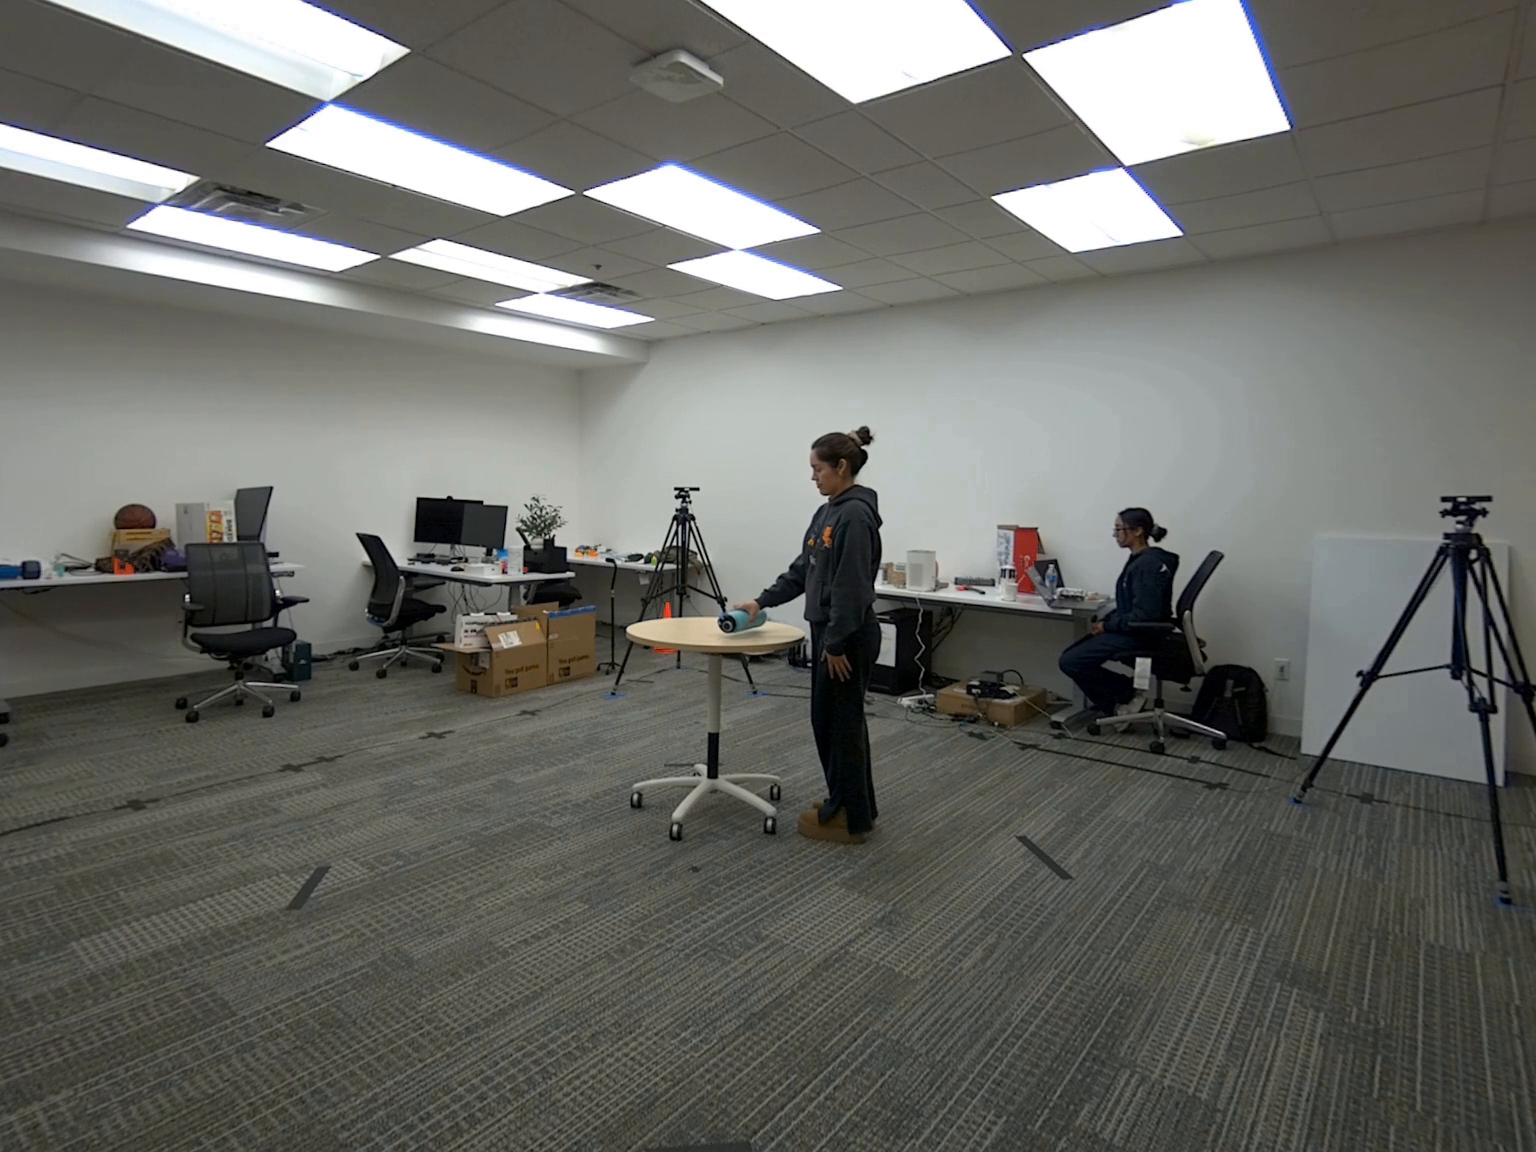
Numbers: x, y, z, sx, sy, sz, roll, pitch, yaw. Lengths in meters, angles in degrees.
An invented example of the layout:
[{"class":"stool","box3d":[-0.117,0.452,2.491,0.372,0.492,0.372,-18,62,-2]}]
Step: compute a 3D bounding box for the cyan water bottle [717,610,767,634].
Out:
[{"class":"cyan water bottle","box3d":[-0.118,0.183,3.572,0.095,0.092,0.276,3,5,32]}]
